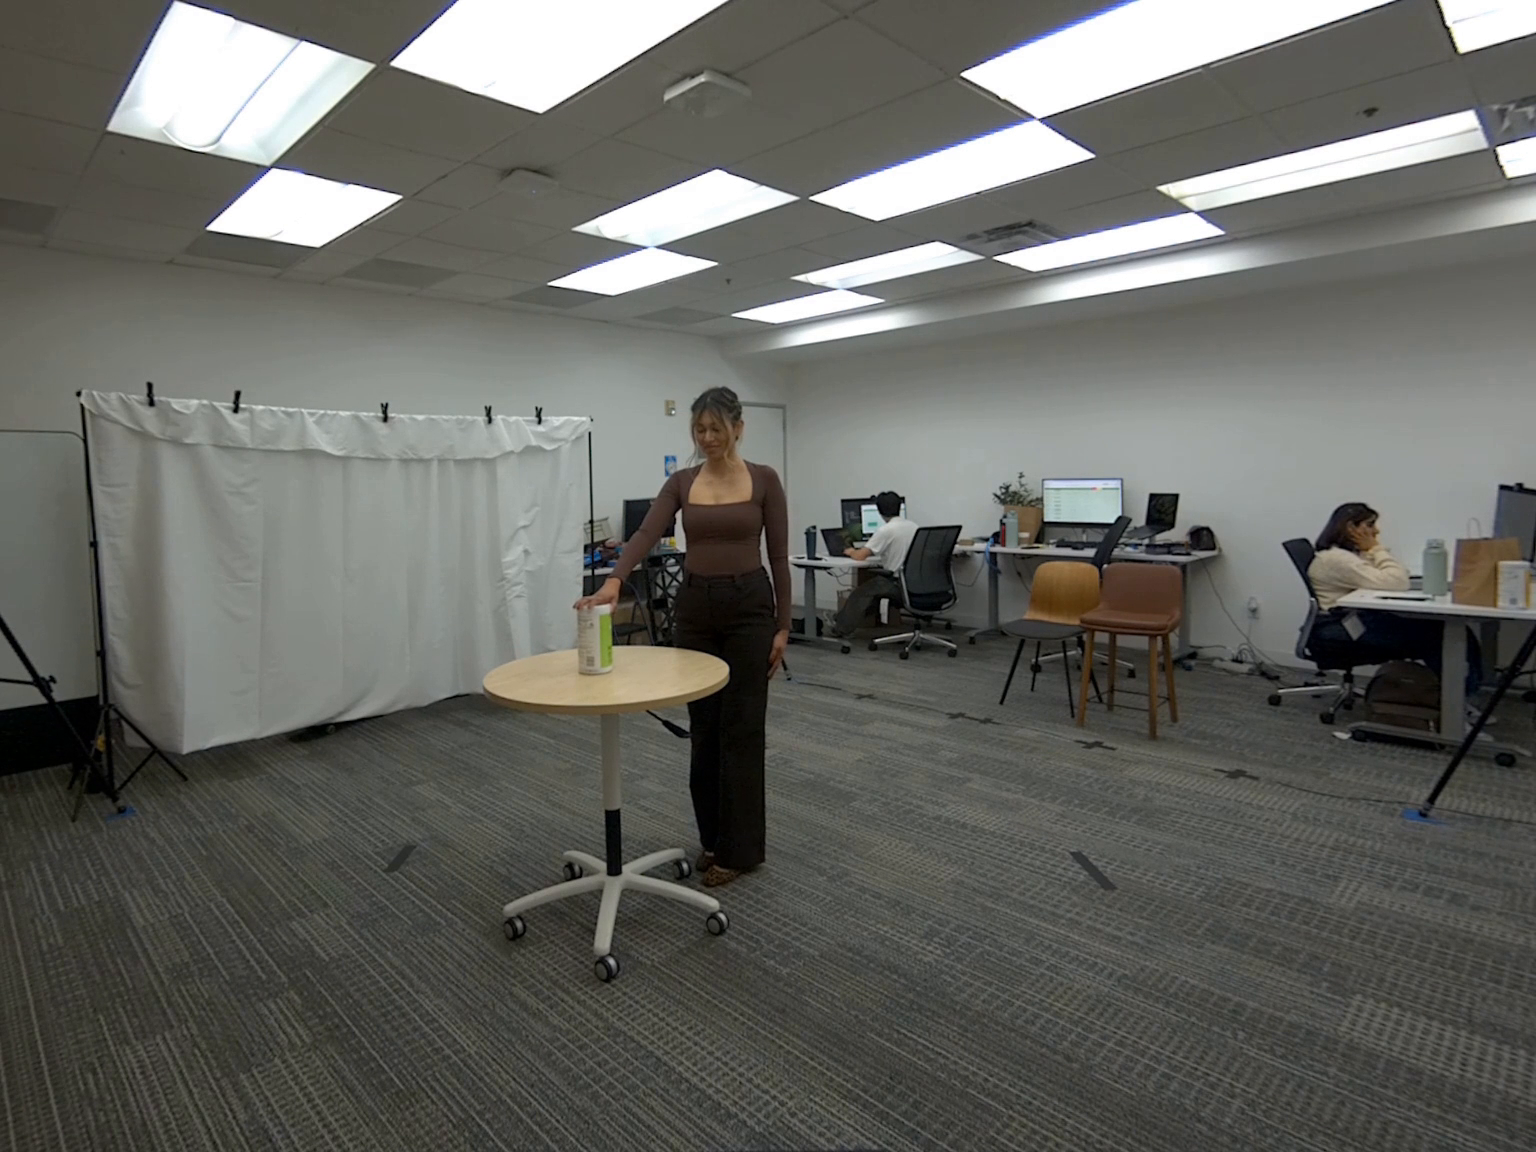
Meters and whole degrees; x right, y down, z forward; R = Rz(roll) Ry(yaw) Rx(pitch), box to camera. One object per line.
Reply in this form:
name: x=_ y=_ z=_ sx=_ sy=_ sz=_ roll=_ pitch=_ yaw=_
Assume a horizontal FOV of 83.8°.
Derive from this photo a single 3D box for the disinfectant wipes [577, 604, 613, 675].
disinfectant wipes: x=-0.546 y=0.196 z=2.697 sx=0.118 sy=0.217 sz=0.118 roll=0 pitch=2 yaw=-2
